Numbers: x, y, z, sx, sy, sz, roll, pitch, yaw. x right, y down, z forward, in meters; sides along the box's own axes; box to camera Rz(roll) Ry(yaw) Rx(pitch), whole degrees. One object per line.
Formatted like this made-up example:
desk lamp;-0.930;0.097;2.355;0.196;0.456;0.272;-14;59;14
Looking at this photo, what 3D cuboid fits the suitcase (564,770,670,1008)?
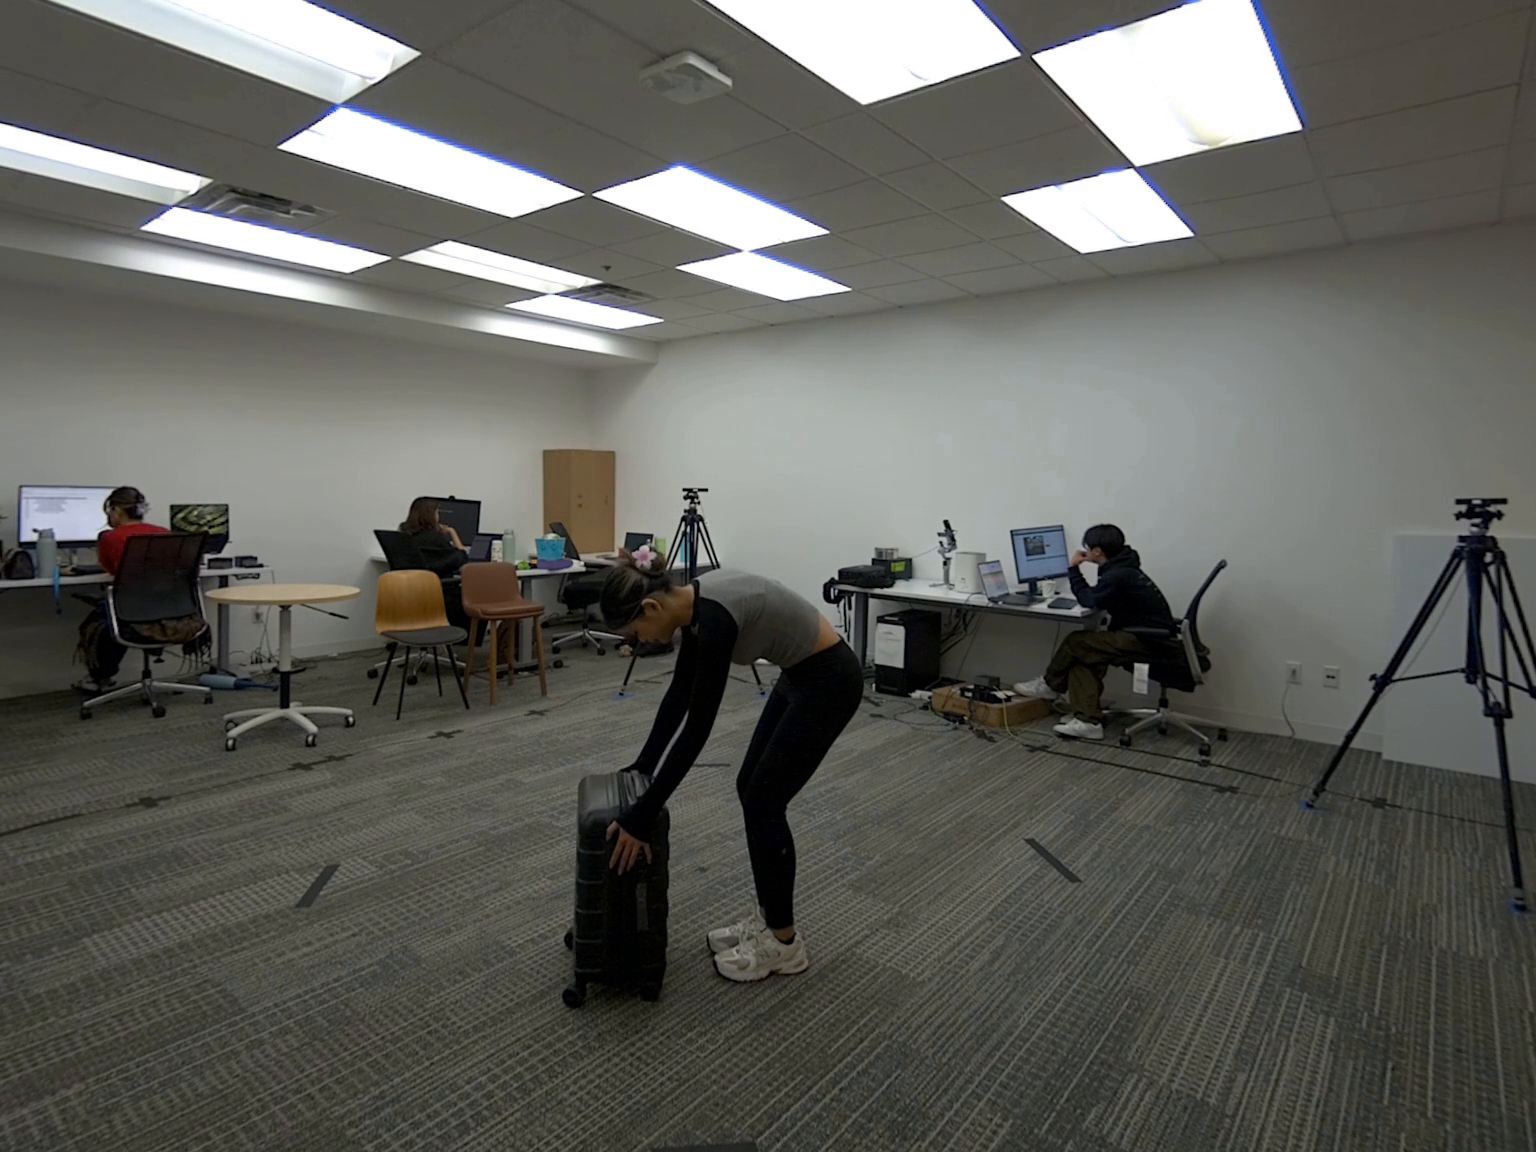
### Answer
suitcase;-0.429;0.857;2.420;0.245;0.548;0.381;1;4;-13
